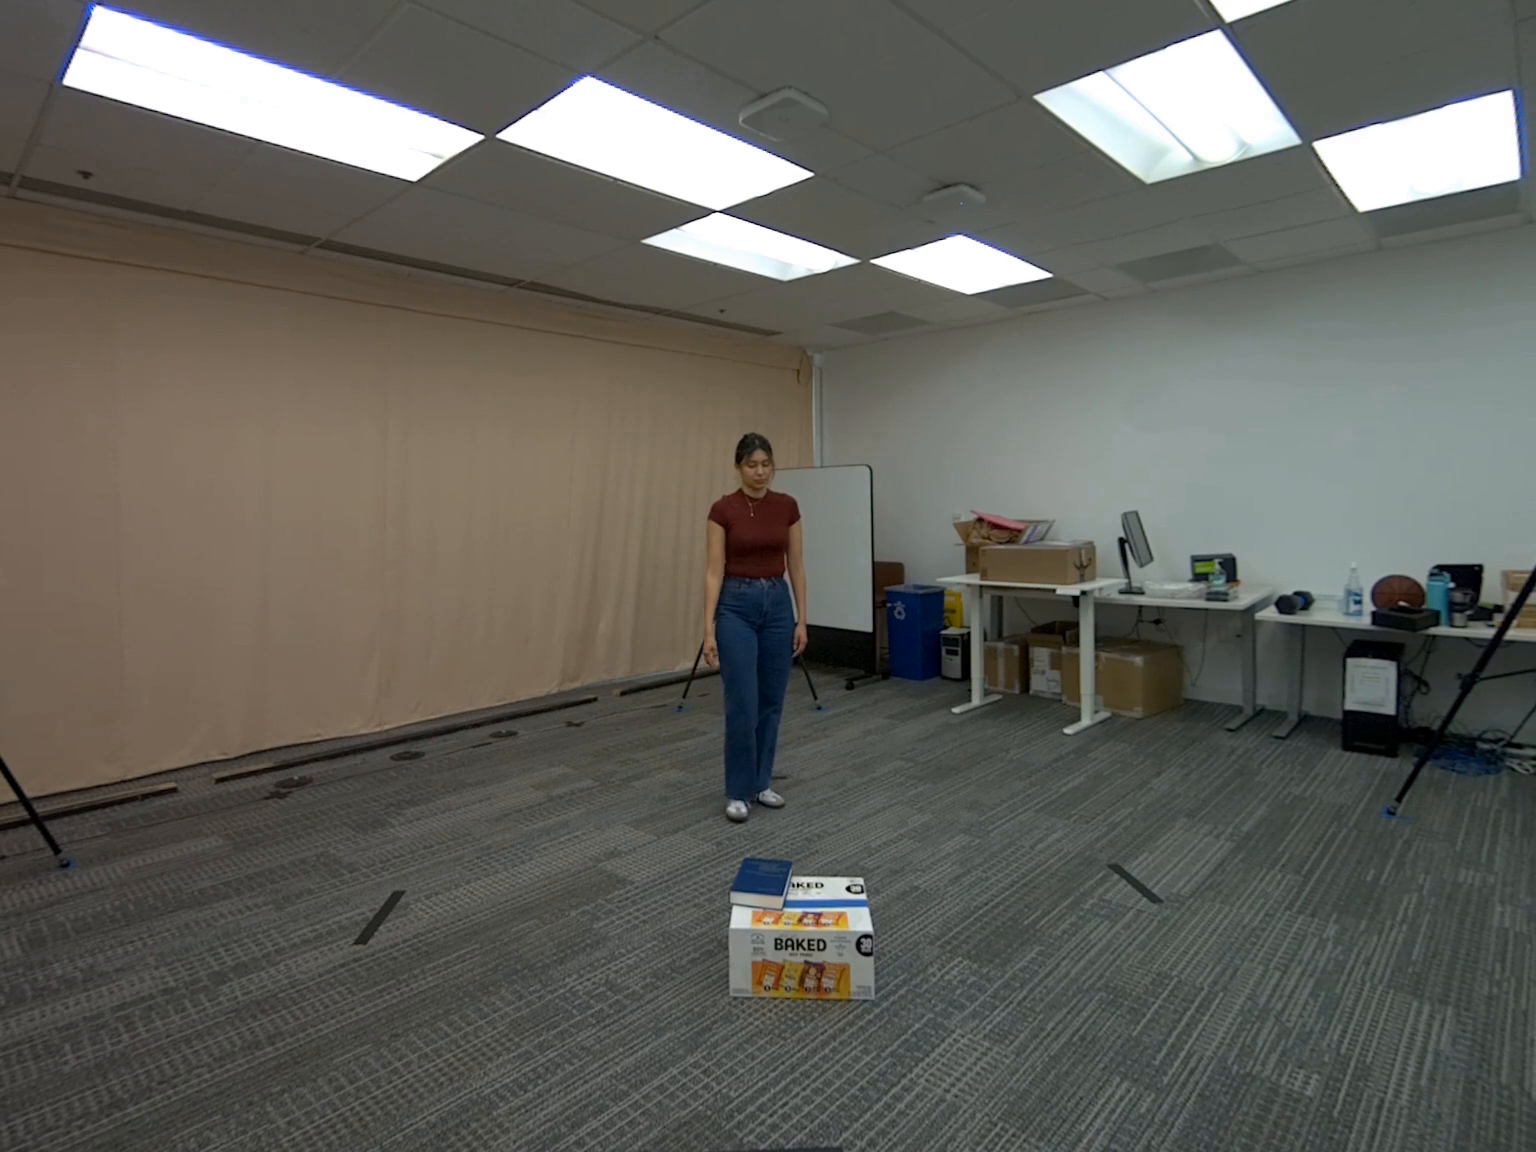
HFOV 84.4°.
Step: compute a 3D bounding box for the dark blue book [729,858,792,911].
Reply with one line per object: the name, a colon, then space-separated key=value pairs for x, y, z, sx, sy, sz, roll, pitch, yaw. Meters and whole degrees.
dark blue book: x=-0.018 y=0.939 z=2.613 sx=0.165 sy=0.045 sz=0.243 roll=1 pitch=5 yaw=10
